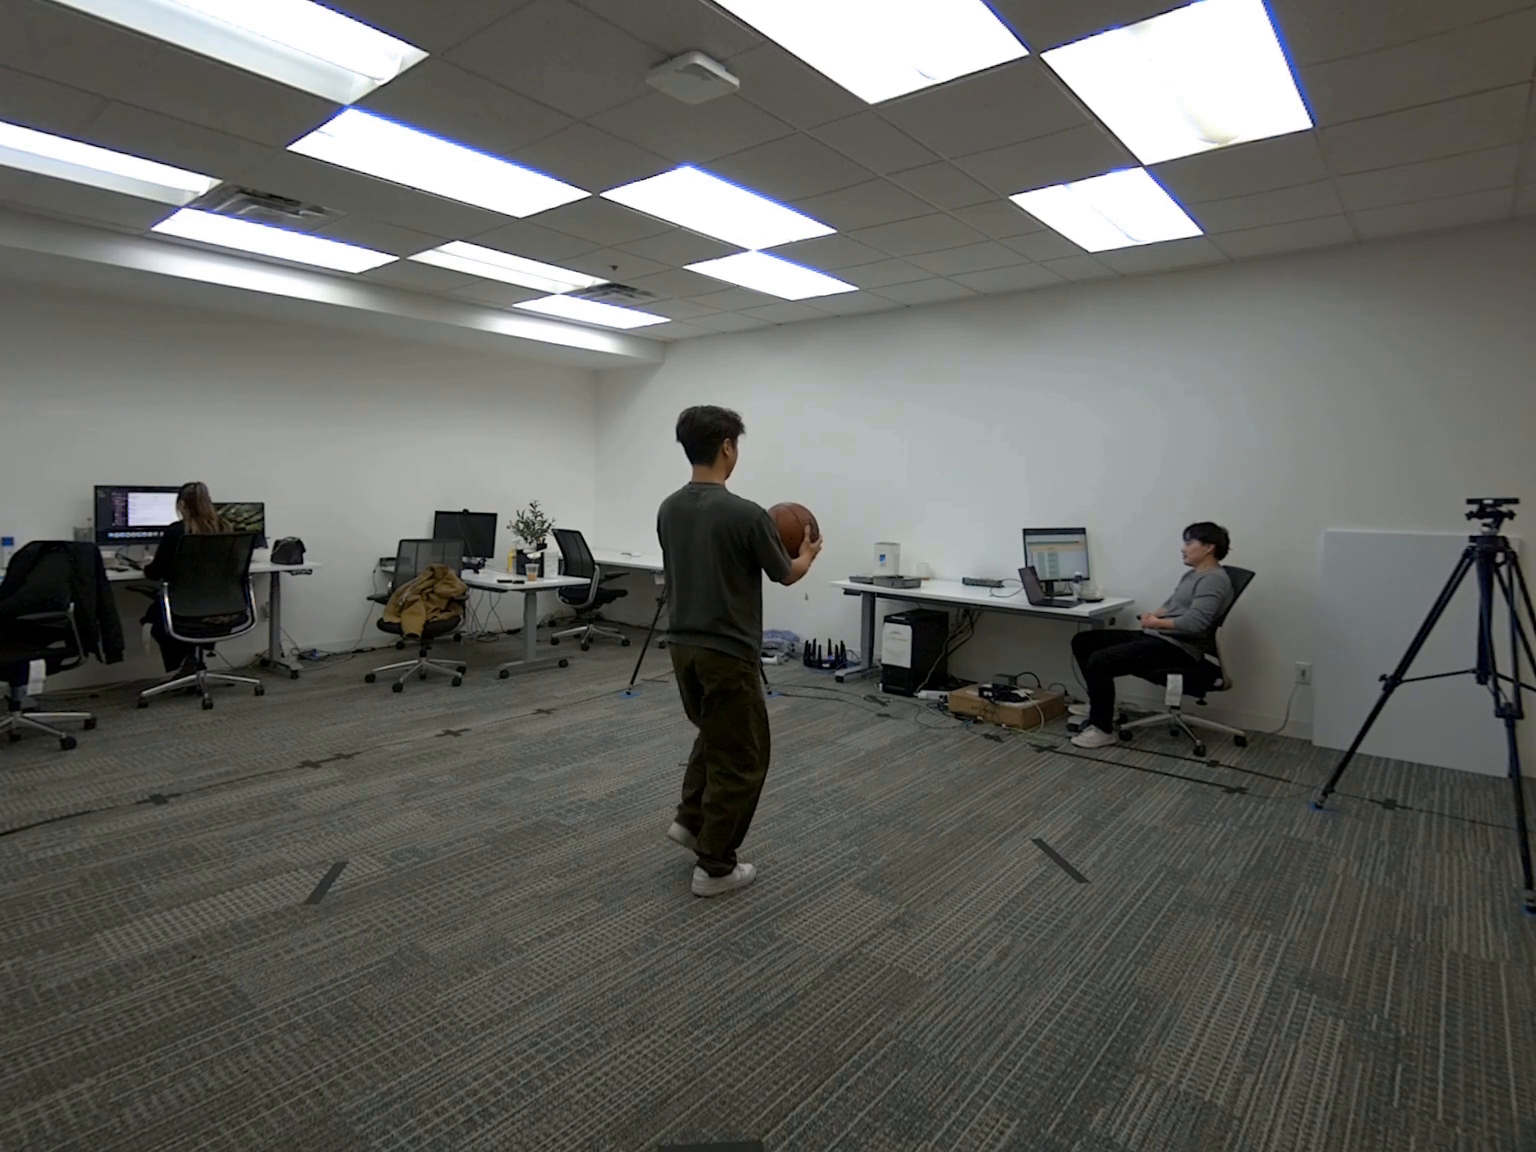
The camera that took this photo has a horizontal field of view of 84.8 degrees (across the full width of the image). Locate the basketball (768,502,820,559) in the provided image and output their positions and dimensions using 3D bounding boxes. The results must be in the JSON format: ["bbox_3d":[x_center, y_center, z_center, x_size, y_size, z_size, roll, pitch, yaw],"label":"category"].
[{"bbox_3d":[0.067,-0.165,3.255,0.235,0.235,0.237,1,4,-2],"label":"basketball"}]
